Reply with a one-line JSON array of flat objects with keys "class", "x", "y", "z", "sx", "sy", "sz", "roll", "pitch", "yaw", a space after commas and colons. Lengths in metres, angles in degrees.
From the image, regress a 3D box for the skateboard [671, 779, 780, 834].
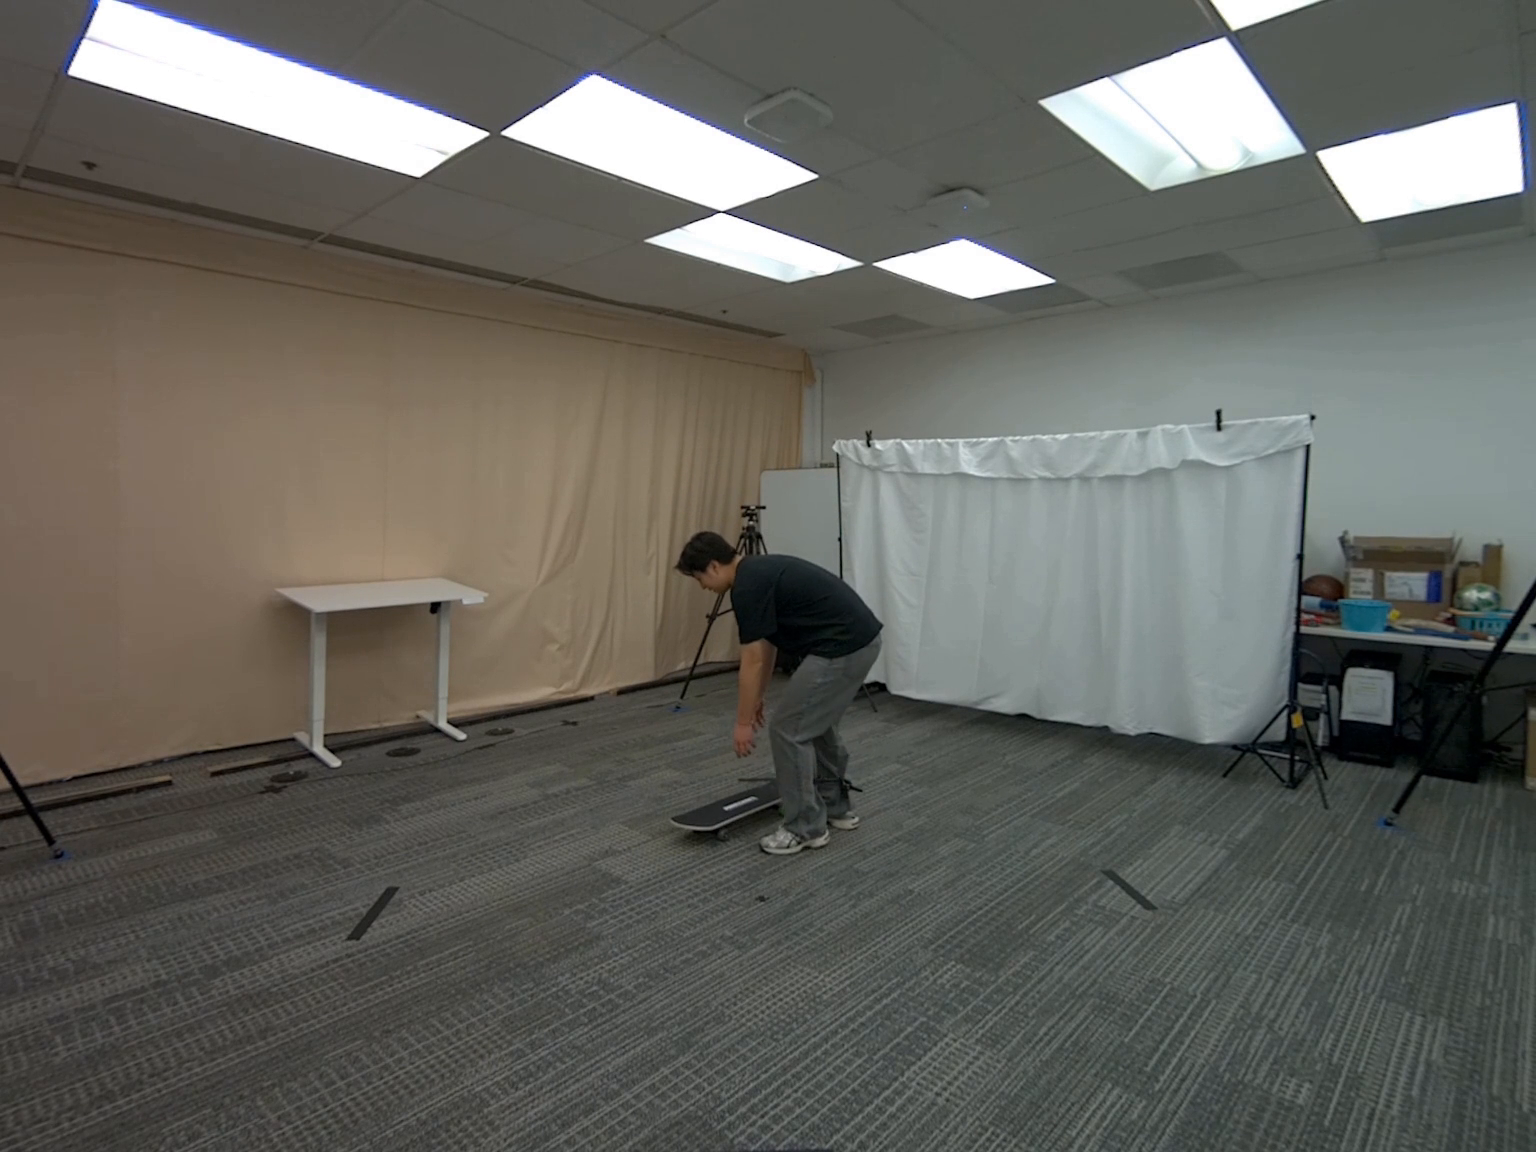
[{"class": "skateboard", "x": -0.119, "y": 1.030, "z": 3.697, "sx": 0.200, "sy": 0.110, "sz": 0.761, "roll": 2, "pitch": 5, "yaw": 42}]
